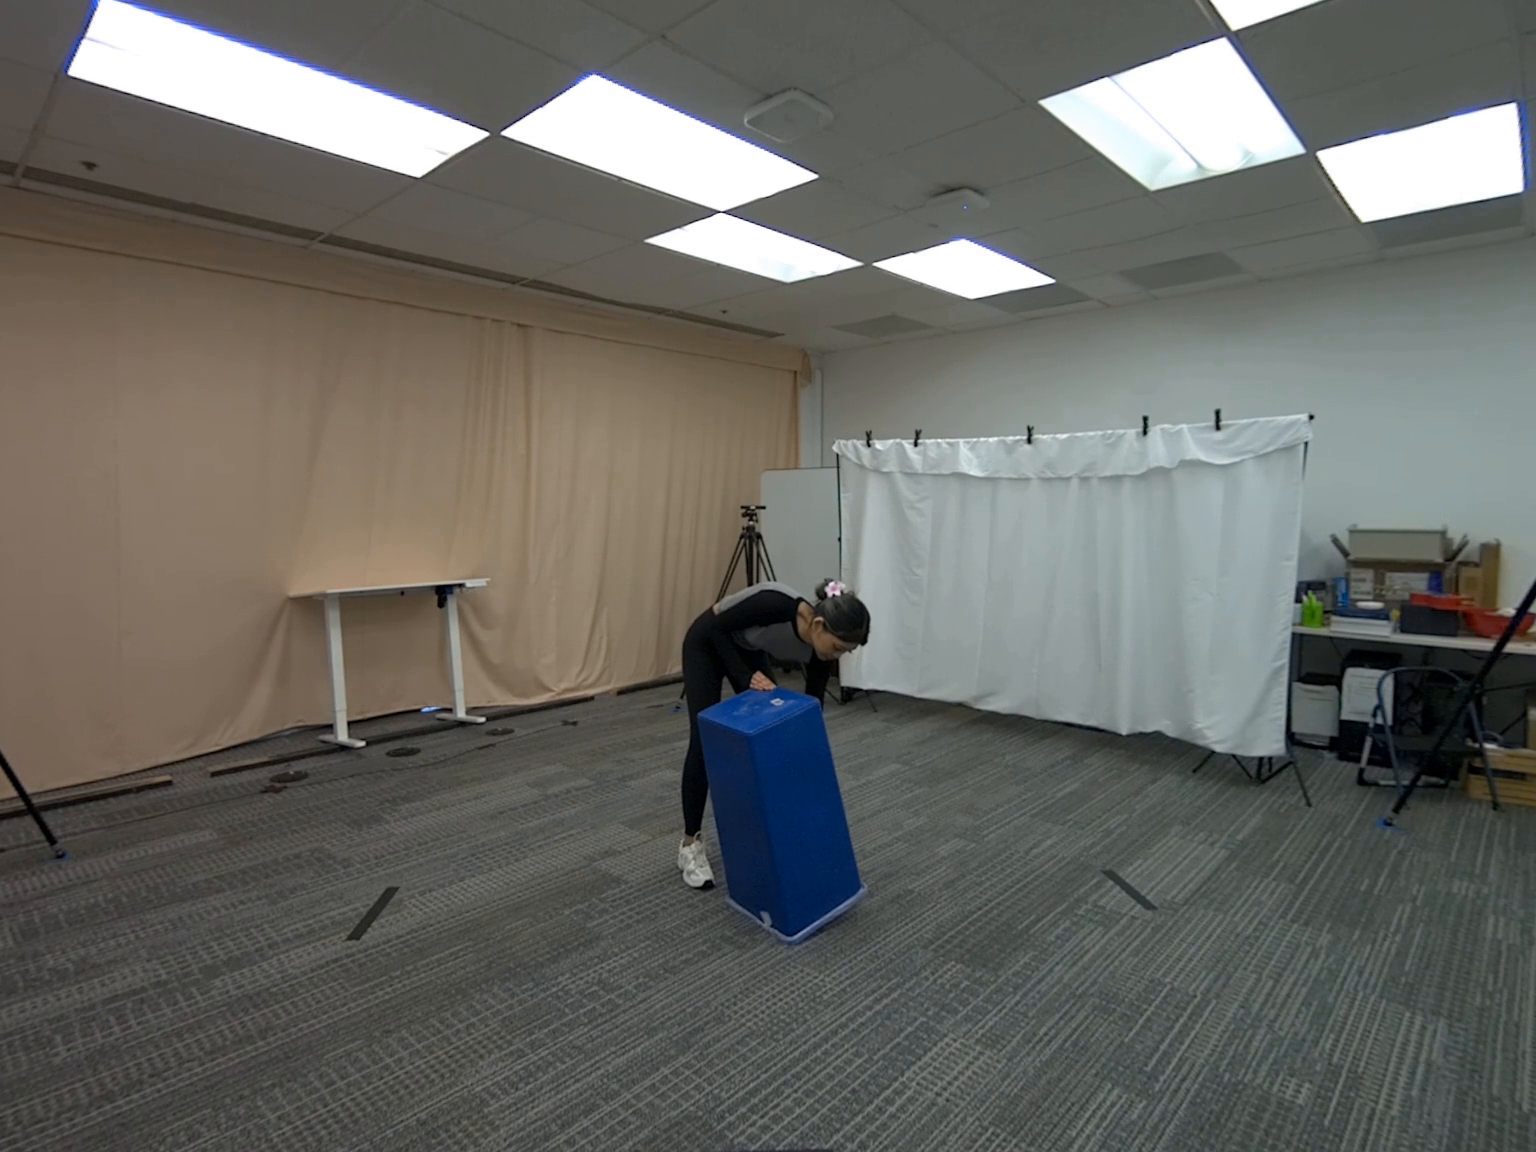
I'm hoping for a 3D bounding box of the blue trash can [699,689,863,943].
[{"bbox_3d":[0.040,0.775,2.833,0.365,0.707,0.390,-18,13,-35],"label":"blue trash can"}]
